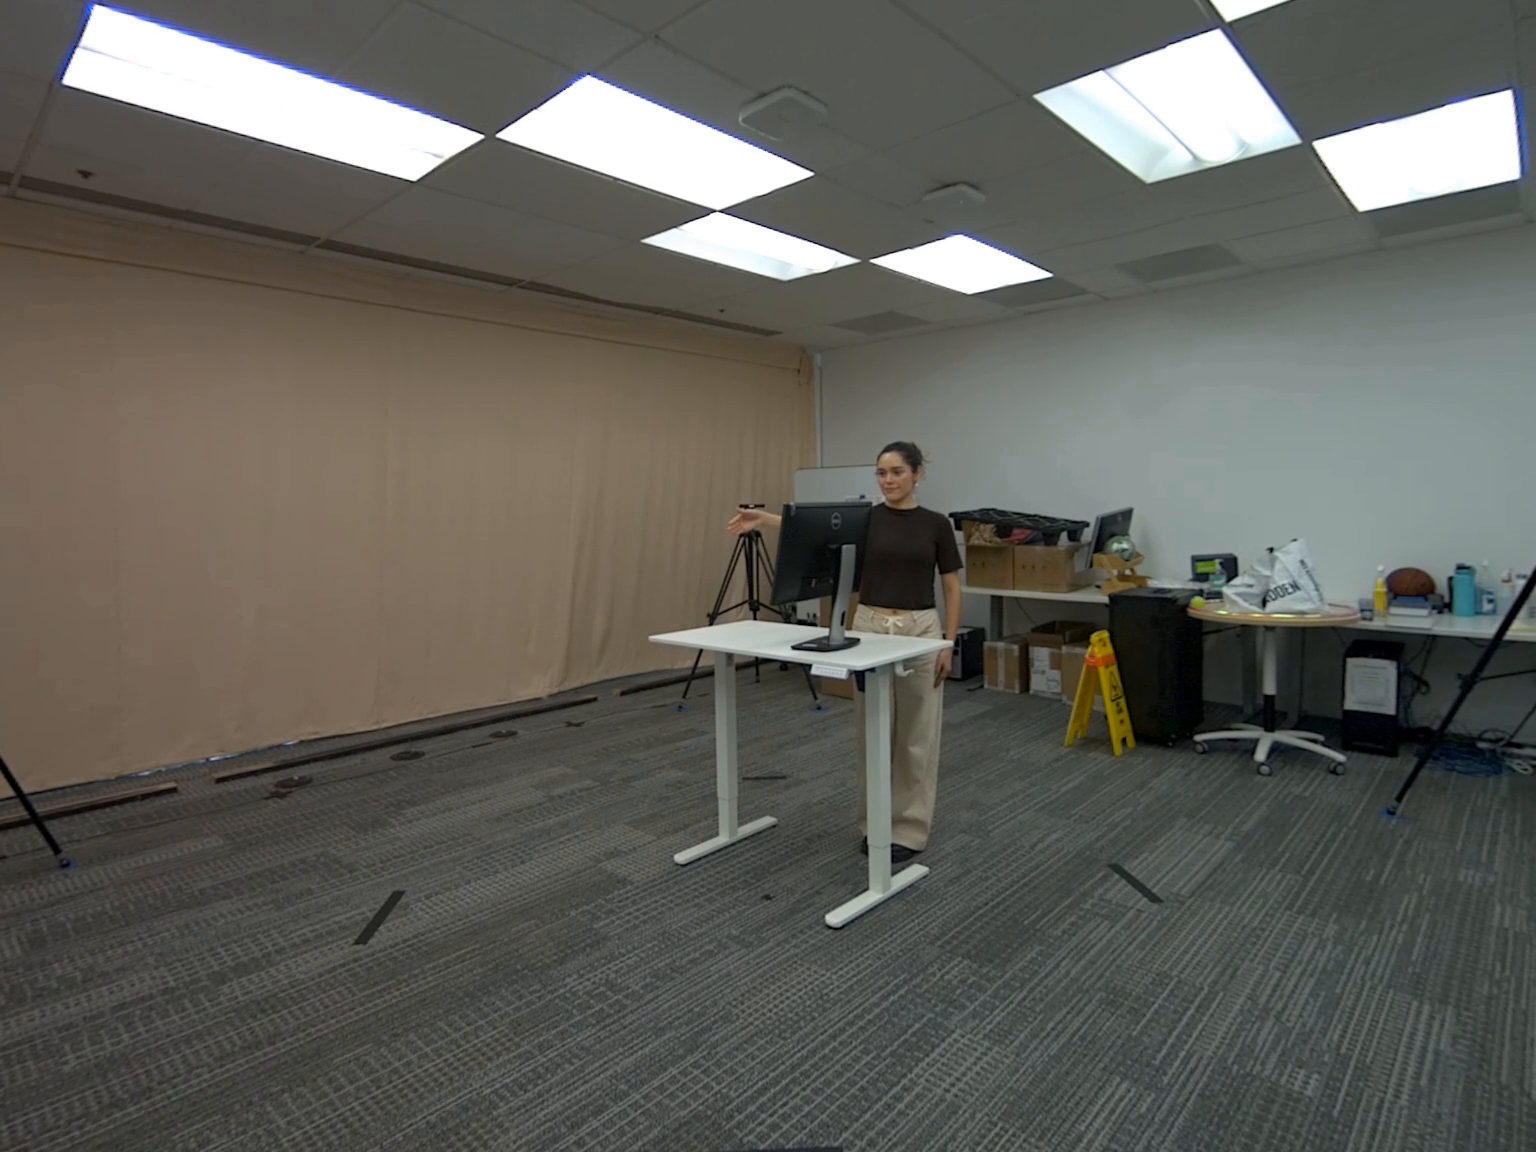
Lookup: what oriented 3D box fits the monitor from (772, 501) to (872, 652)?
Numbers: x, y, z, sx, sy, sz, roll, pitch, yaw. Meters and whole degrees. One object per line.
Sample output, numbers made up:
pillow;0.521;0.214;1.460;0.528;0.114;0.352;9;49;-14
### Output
monitor;0.221;0.000;2.998;0.193;0.522;0.523;-1;3;41
